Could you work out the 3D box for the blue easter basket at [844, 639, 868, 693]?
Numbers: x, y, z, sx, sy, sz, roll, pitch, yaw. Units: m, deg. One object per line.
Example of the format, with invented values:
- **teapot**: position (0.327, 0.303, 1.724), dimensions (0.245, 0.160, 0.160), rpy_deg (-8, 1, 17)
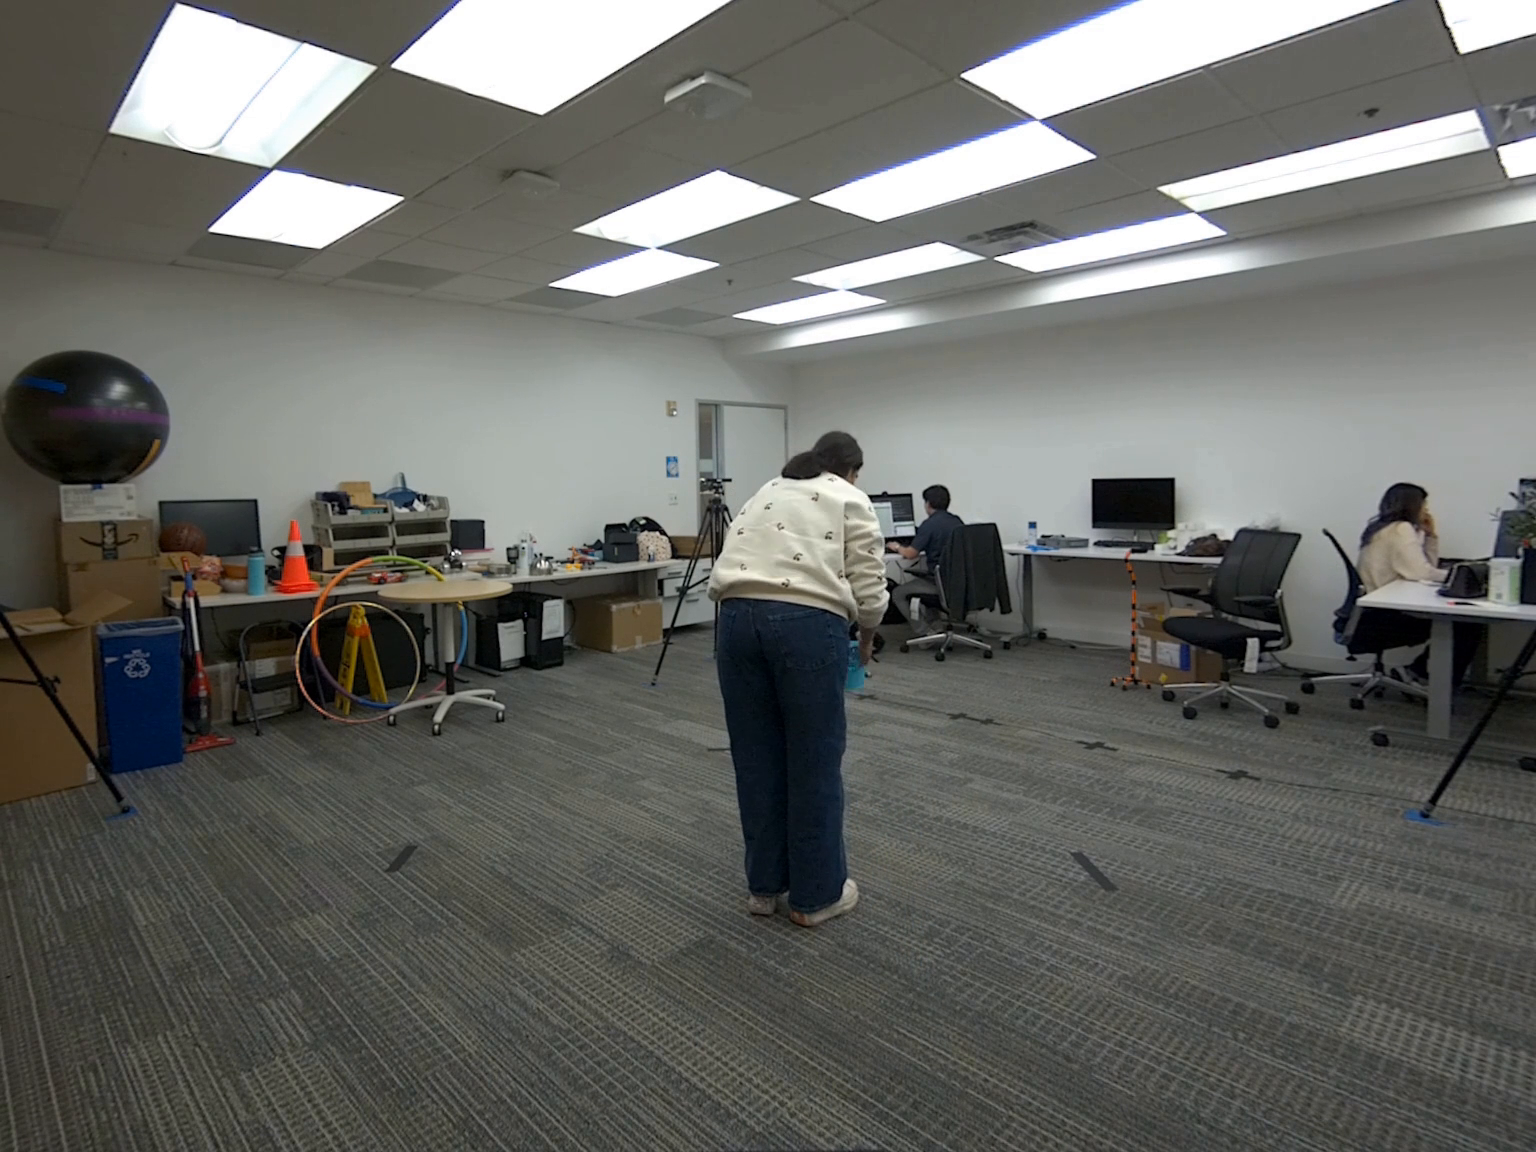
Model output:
- **blue easter basket**: position (0.264, 0.326, 3.030), dimensions (0.243, 0.156, 0.243), rpy_deg (-5, 0, -2)
